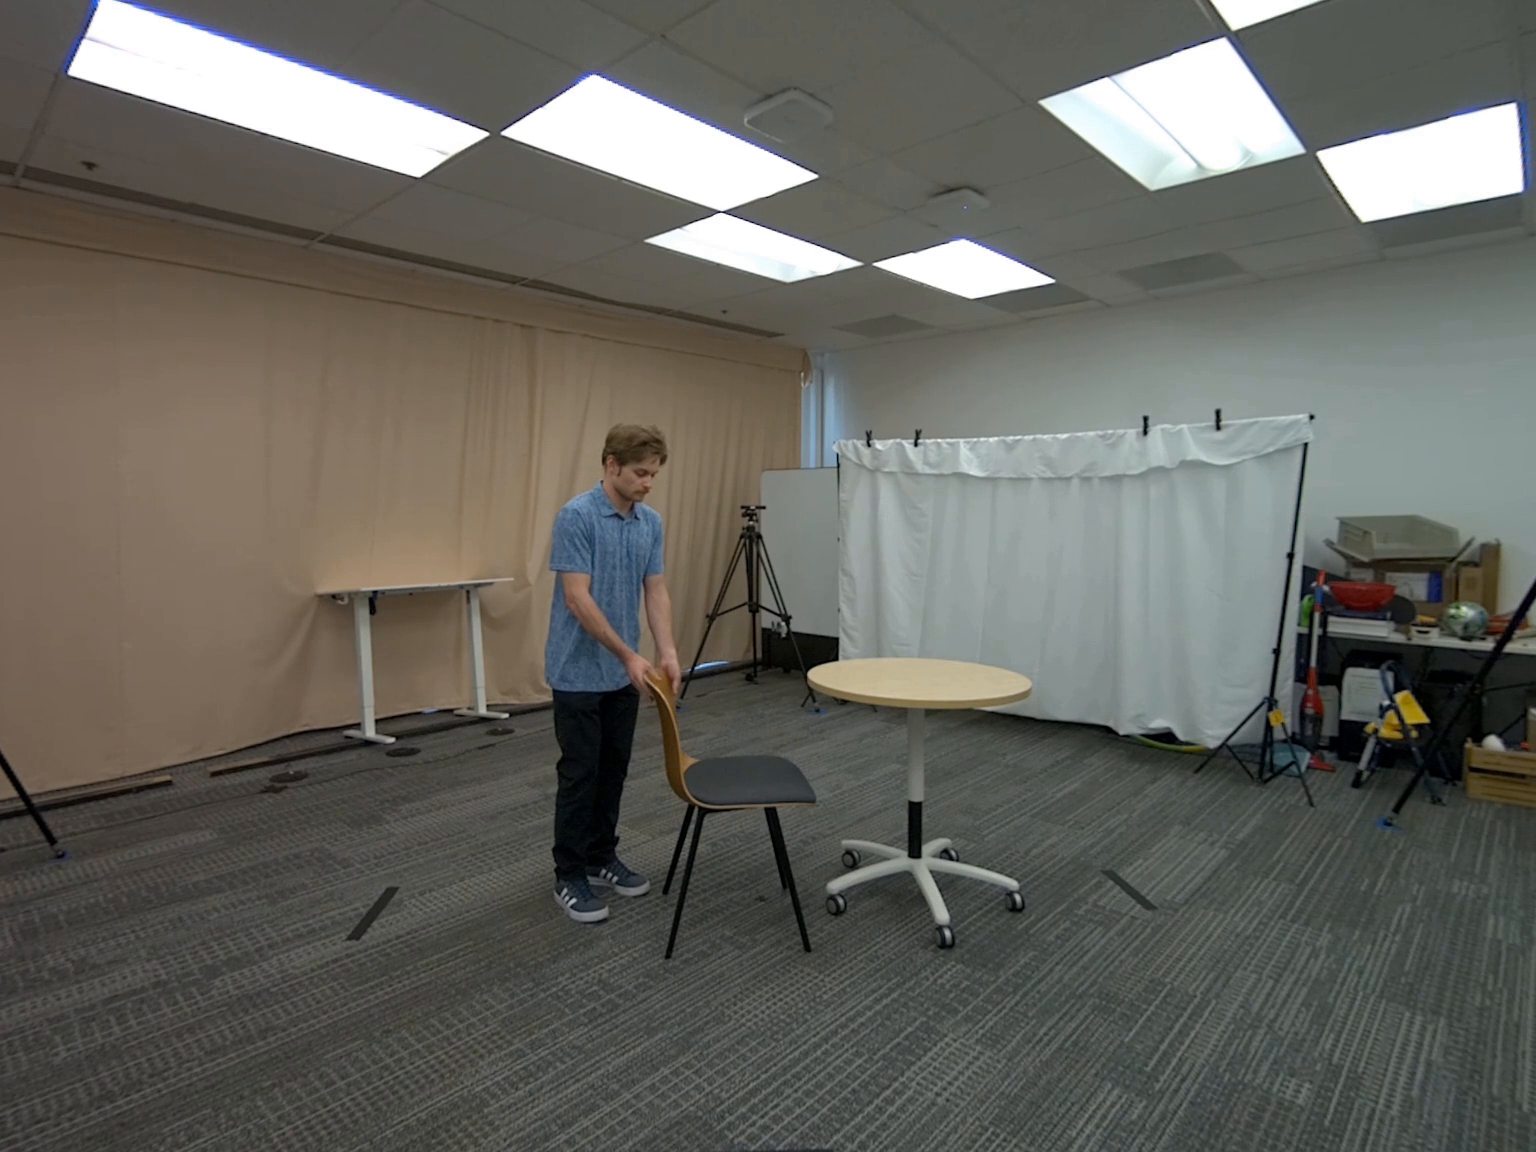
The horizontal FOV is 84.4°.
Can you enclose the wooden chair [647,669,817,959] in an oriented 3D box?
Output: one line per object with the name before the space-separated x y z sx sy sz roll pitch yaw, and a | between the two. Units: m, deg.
wooden chair | -0.114 0.733 2.800 0.519 0.876 0.483 -4 3 -8
